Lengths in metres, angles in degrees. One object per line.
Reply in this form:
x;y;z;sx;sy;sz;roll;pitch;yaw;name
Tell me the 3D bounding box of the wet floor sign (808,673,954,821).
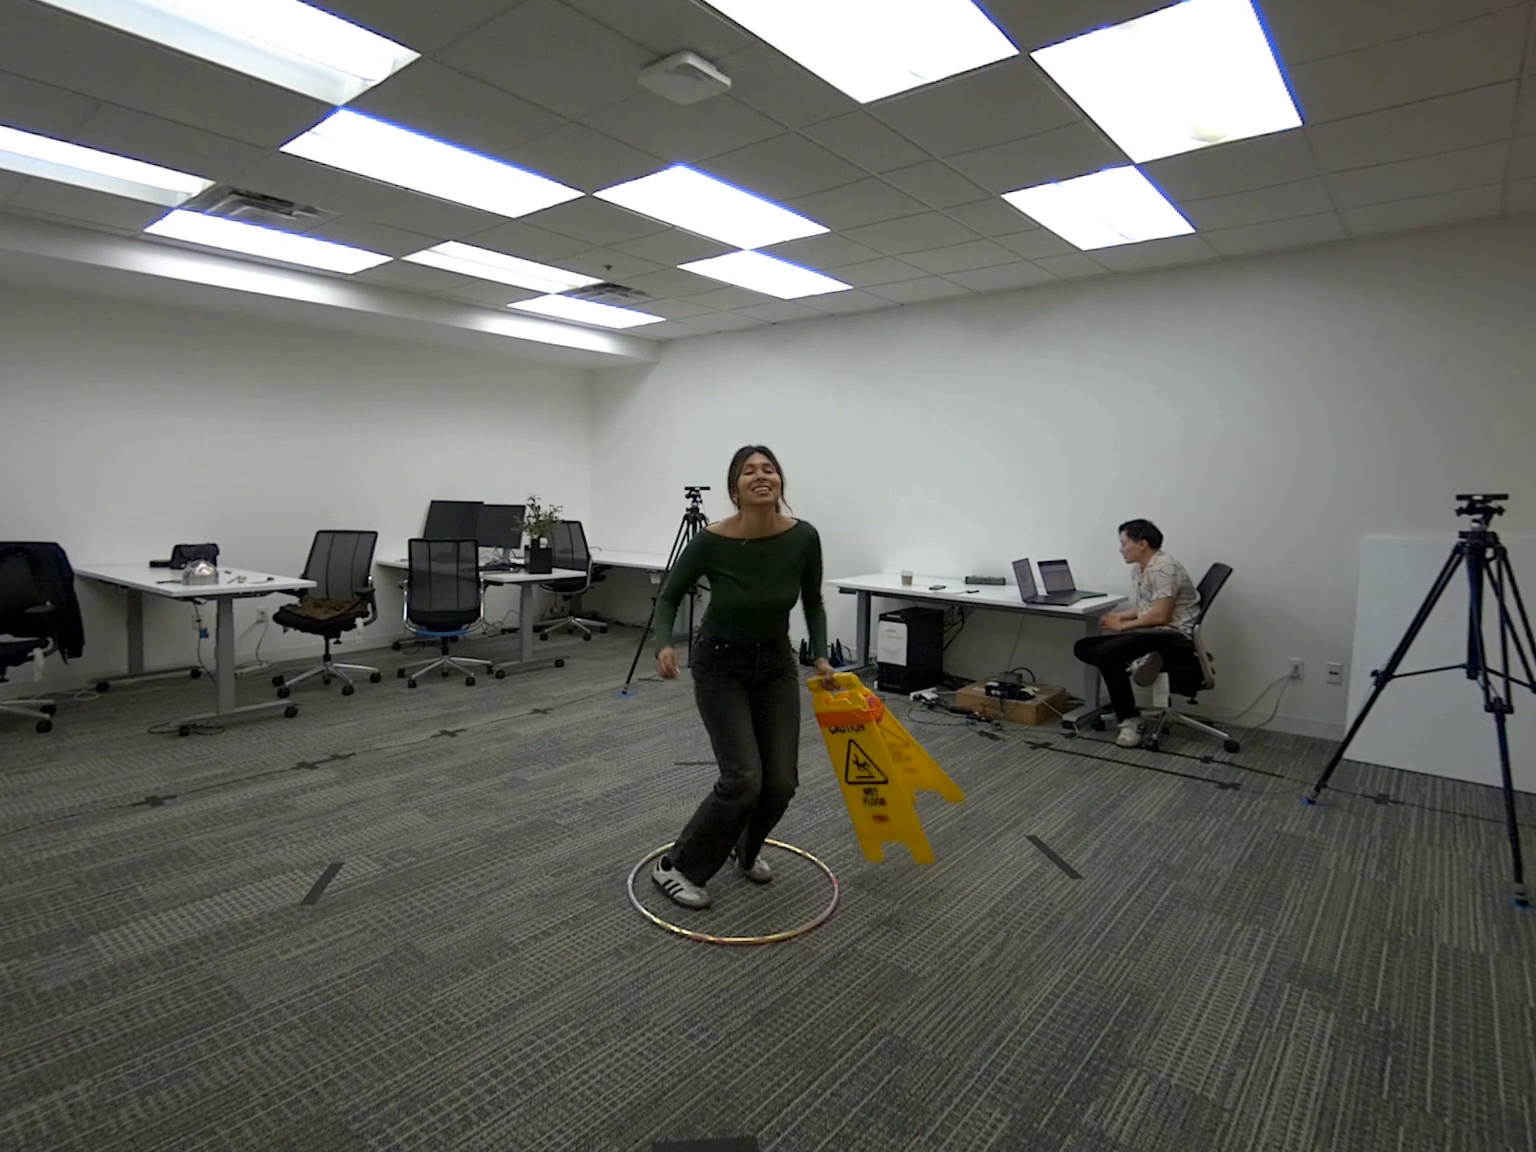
0.297;0.487;2.866;0.288;0.626;0.293;-20;31;39;wet floor sign
